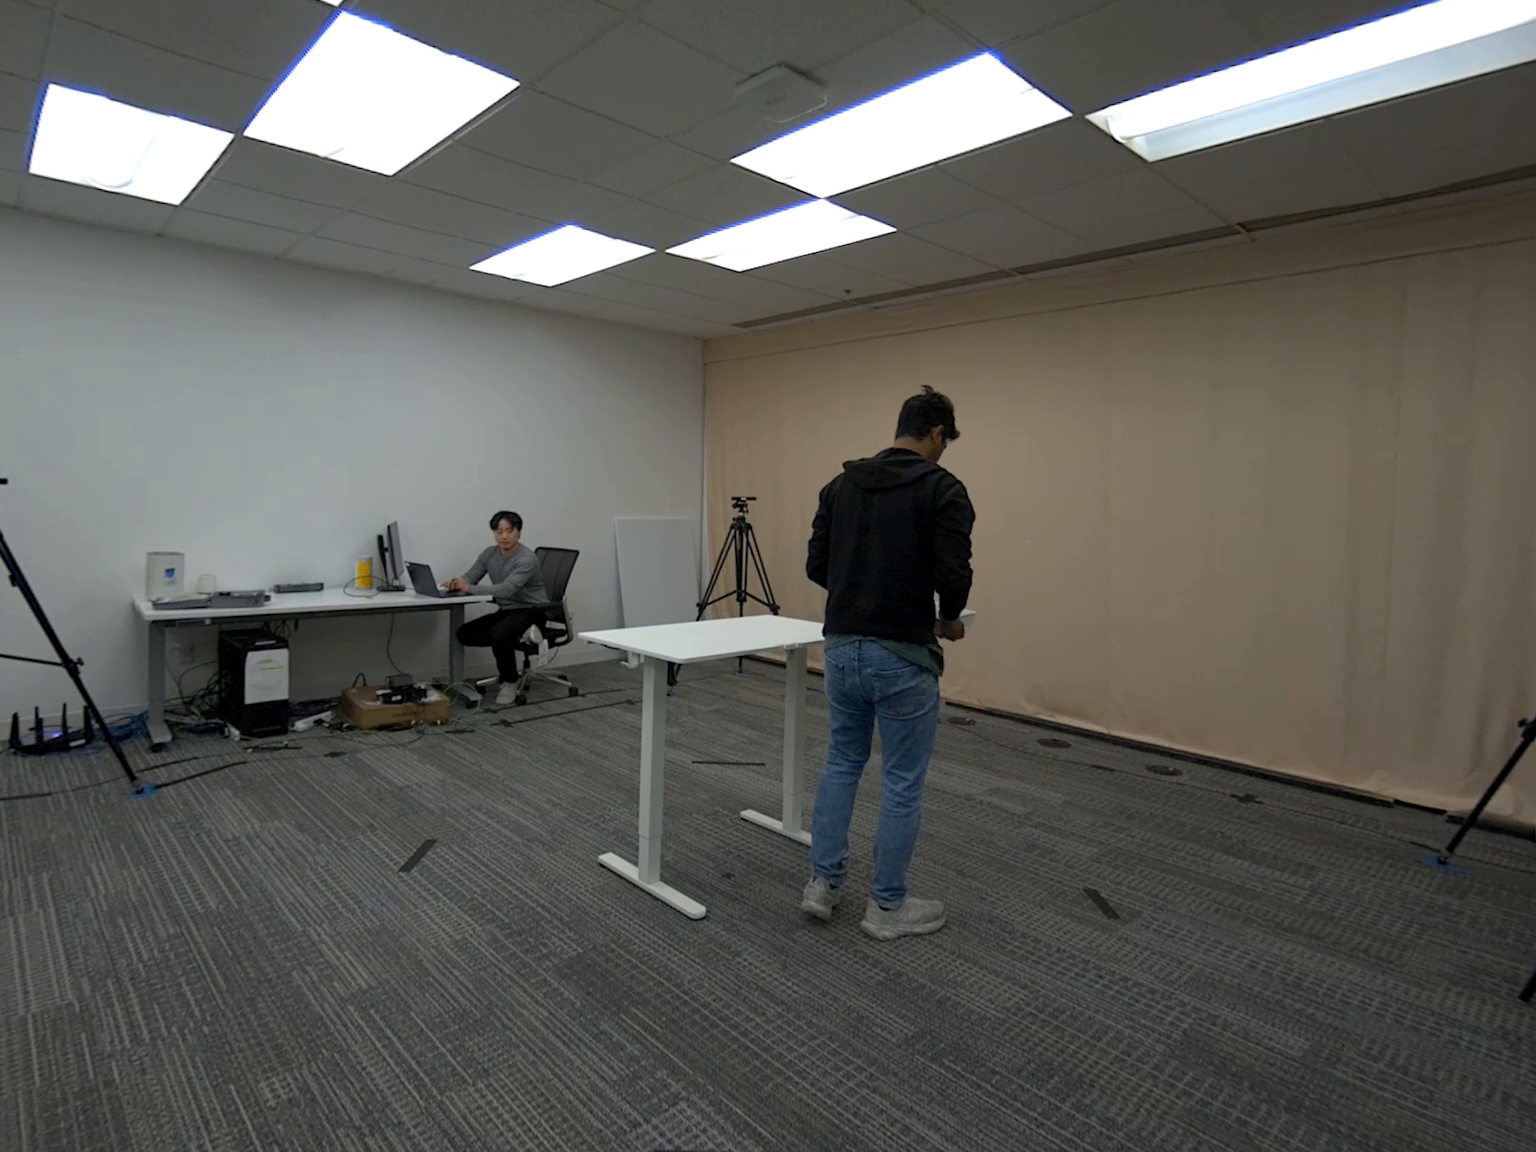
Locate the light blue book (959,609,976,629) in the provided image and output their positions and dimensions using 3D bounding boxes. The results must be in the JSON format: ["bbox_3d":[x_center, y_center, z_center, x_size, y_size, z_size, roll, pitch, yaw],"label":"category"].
[{"bbox_3d":[0.582,0.158,2.952,0.196,0.058,0.255,13,13,36],"label":"light blue book"}]
